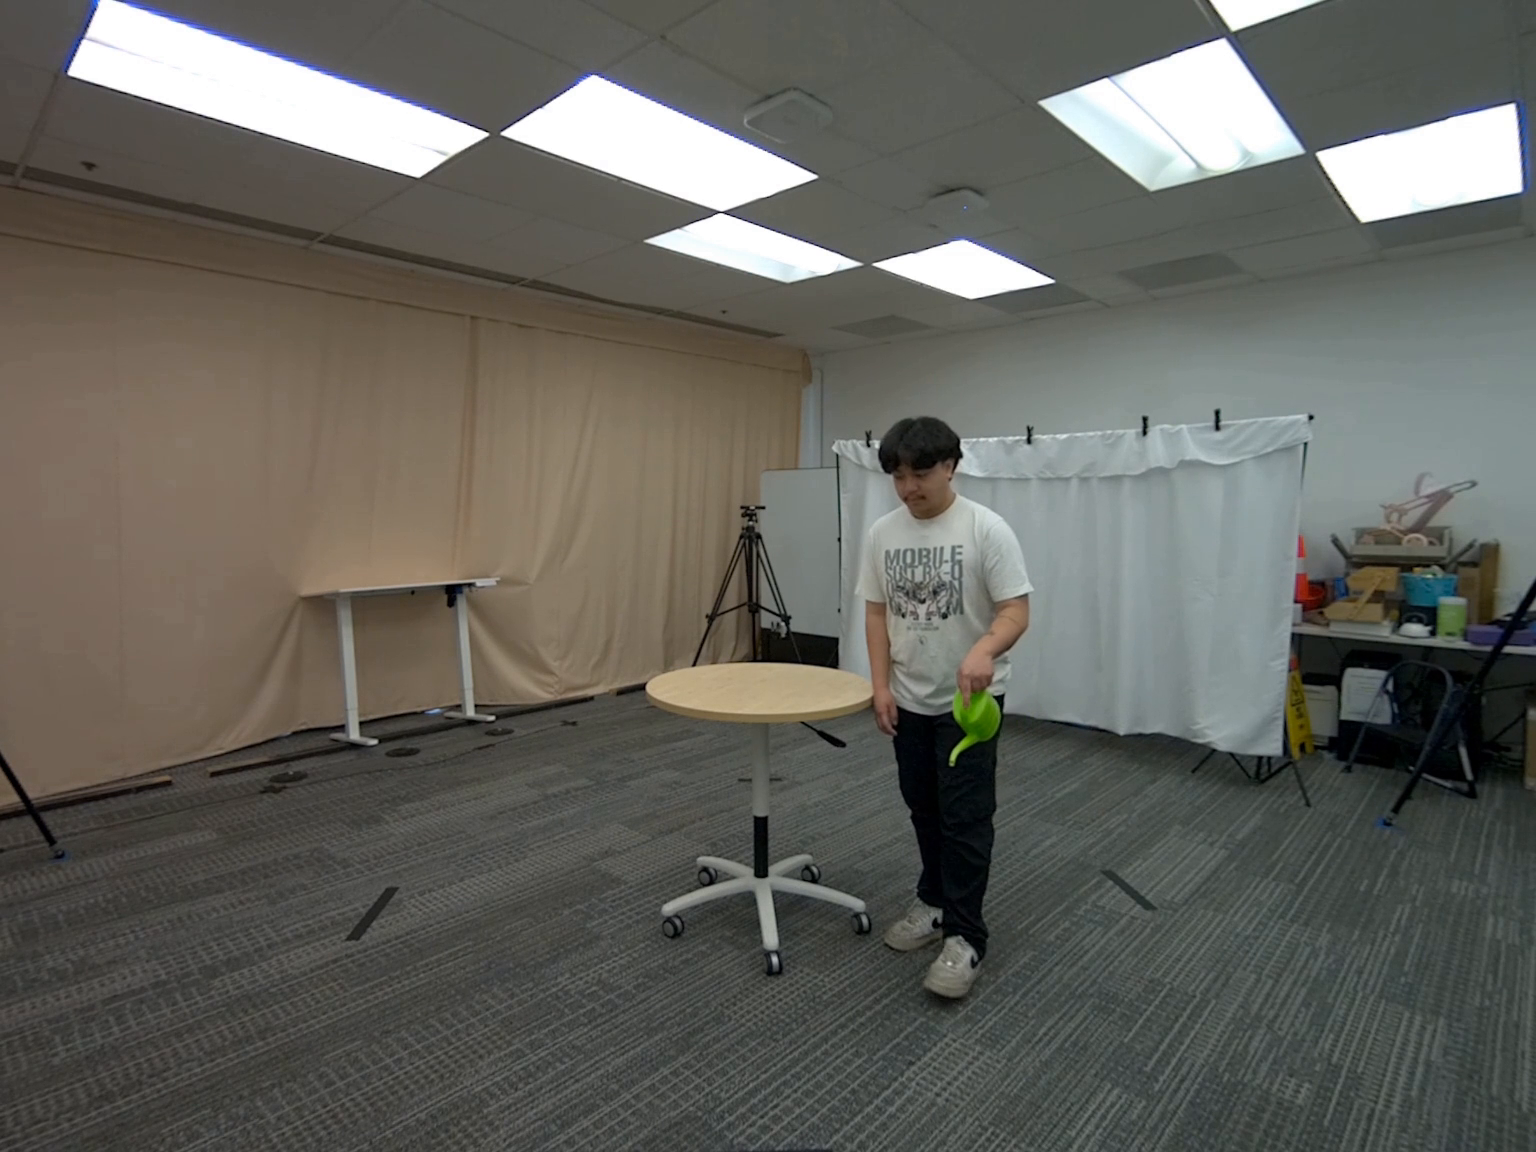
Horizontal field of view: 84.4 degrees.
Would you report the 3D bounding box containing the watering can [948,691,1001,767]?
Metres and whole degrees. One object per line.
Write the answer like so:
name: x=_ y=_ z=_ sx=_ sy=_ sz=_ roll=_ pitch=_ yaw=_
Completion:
watering can: x=0.537 y=0.397 z=2.266 sx=0.101 sy=0.278 sz=0.170 roll=12 pitch=-23 yaw=40
